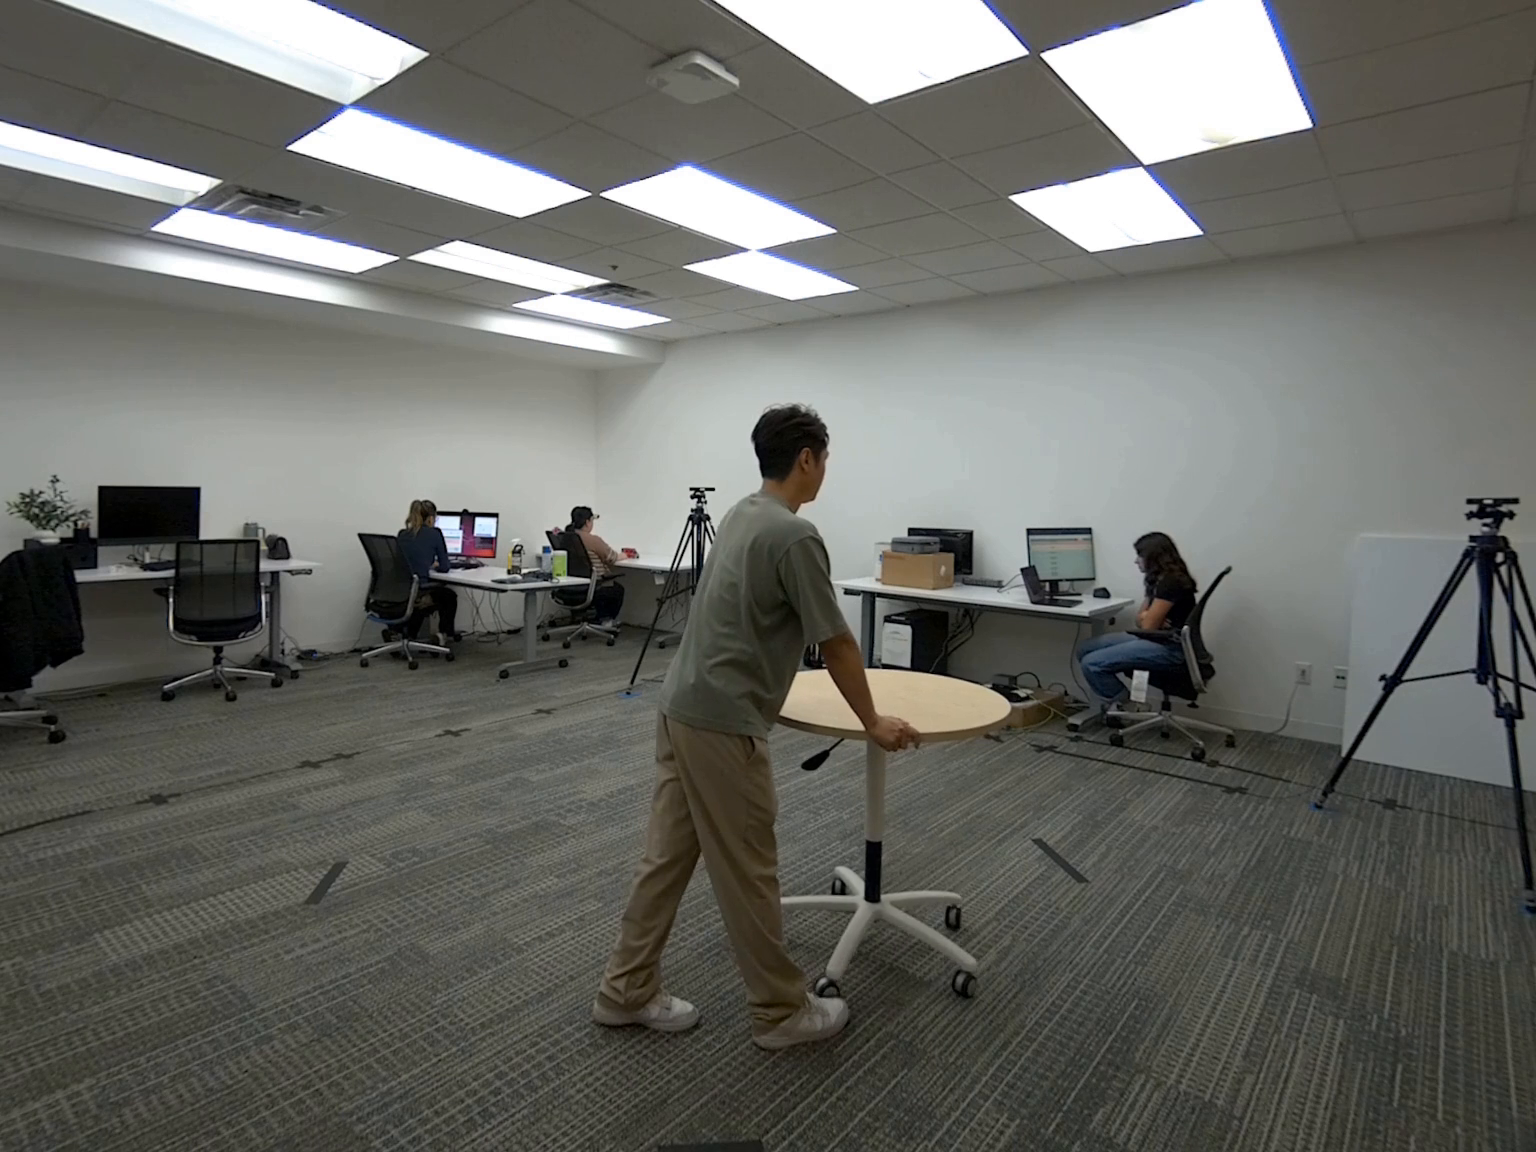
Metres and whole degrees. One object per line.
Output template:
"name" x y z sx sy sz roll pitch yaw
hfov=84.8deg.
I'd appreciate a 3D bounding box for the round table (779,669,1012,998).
"round table" 0.329 0.742 2.601 0.784 0.783 0.789 0 5 -2
